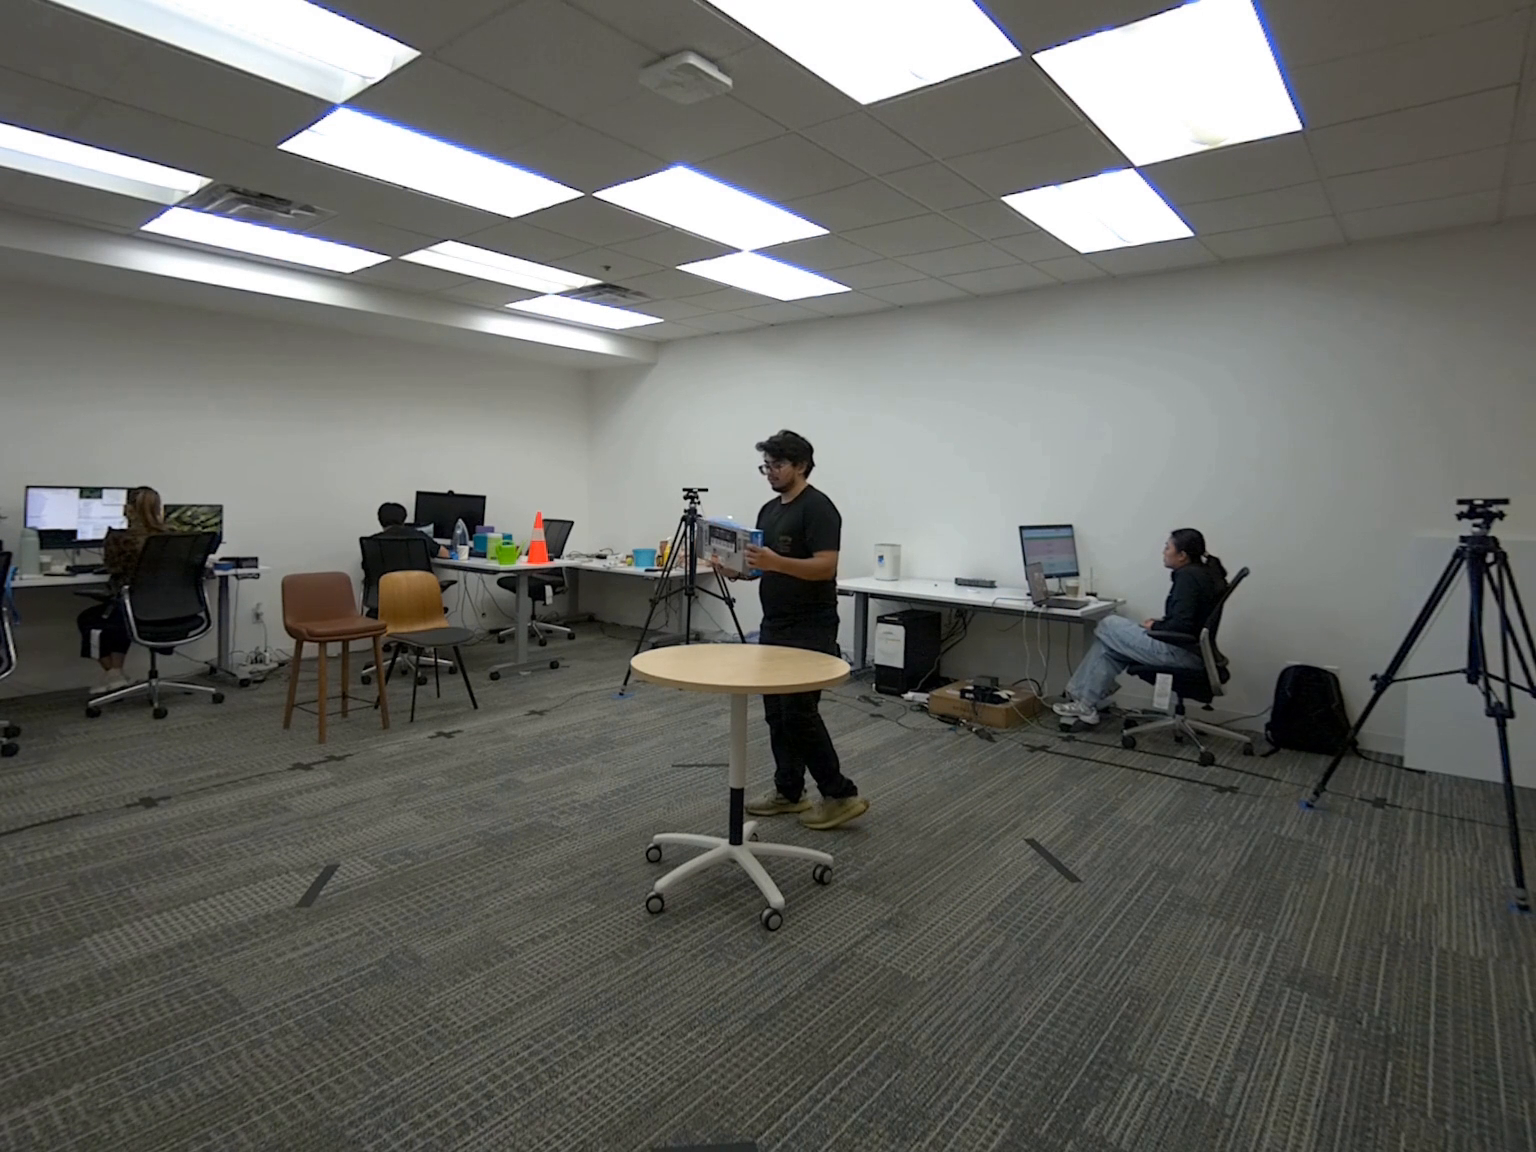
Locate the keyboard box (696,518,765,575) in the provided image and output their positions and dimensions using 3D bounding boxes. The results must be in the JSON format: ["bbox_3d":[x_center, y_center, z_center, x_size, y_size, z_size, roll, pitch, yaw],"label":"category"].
[{"bbox_3d":[-0.165,-0.127,3.450,0.057,0.174,0.452,-1,11,-32],"label":"keyboard box"}]
